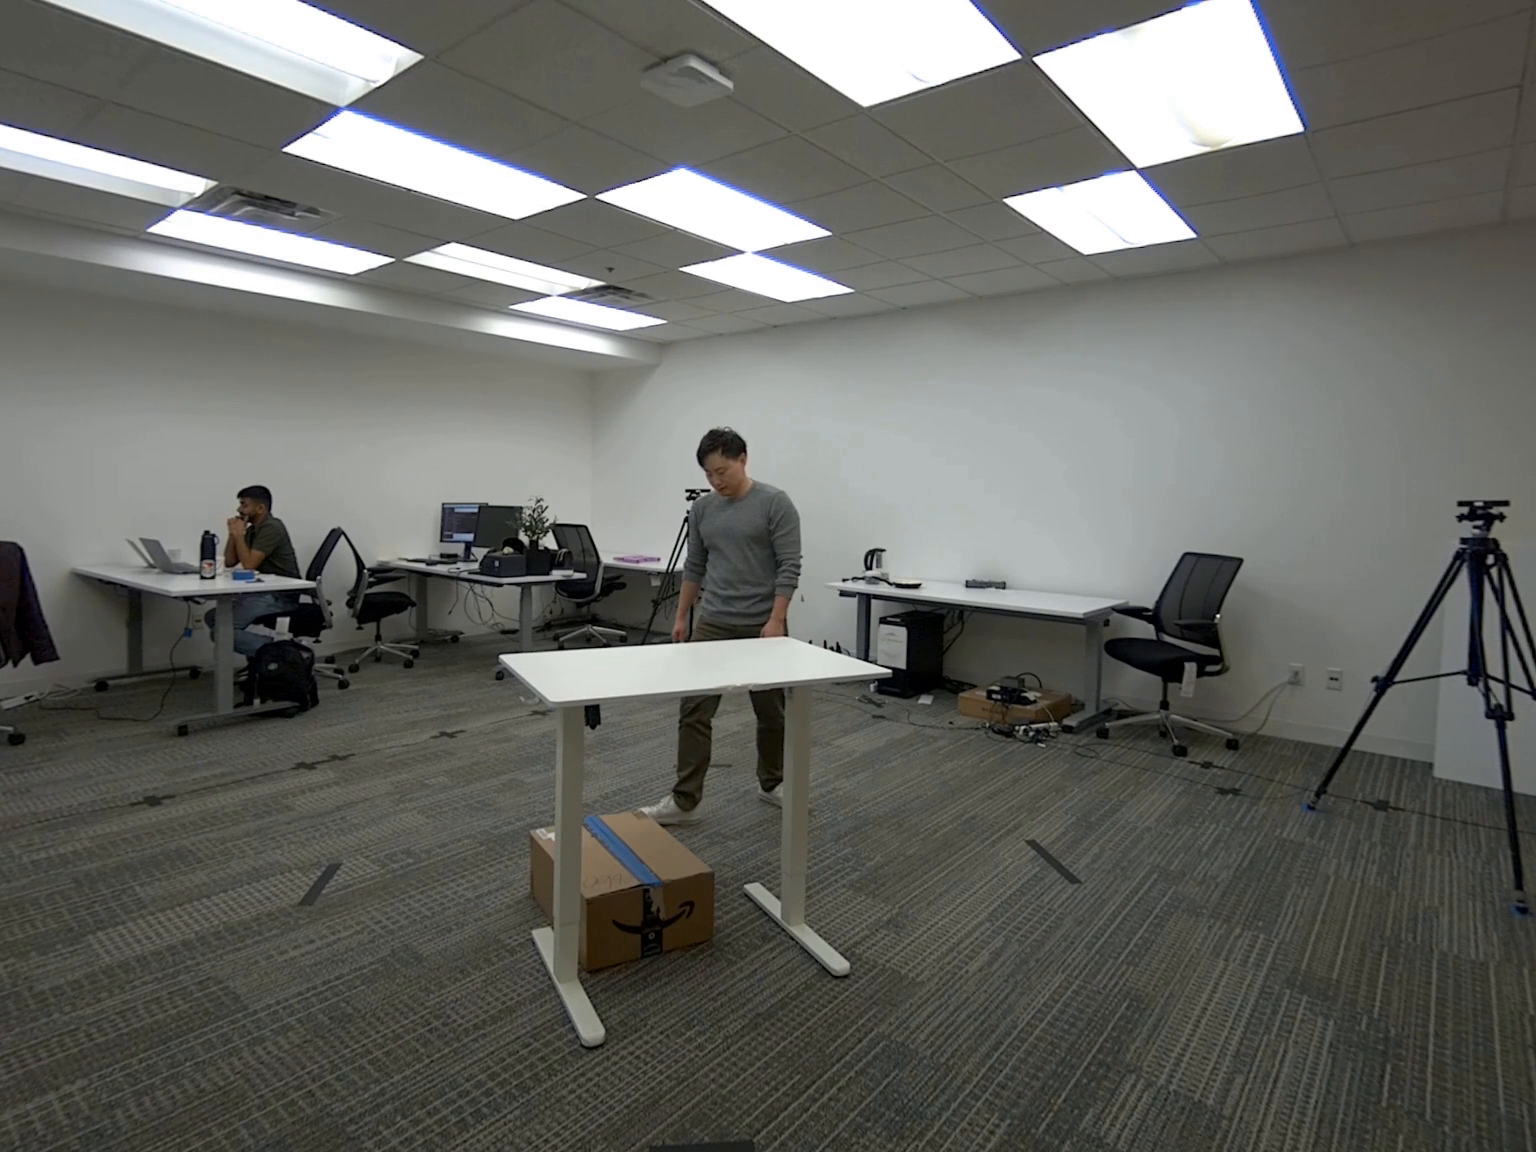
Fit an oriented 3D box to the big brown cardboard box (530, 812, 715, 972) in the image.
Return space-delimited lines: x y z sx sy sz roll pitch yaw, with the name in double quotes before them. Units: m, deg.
"big brown cardboard box" -0.503 0.988 2.765 0.406 0.232 0.608 -2 7 -31
